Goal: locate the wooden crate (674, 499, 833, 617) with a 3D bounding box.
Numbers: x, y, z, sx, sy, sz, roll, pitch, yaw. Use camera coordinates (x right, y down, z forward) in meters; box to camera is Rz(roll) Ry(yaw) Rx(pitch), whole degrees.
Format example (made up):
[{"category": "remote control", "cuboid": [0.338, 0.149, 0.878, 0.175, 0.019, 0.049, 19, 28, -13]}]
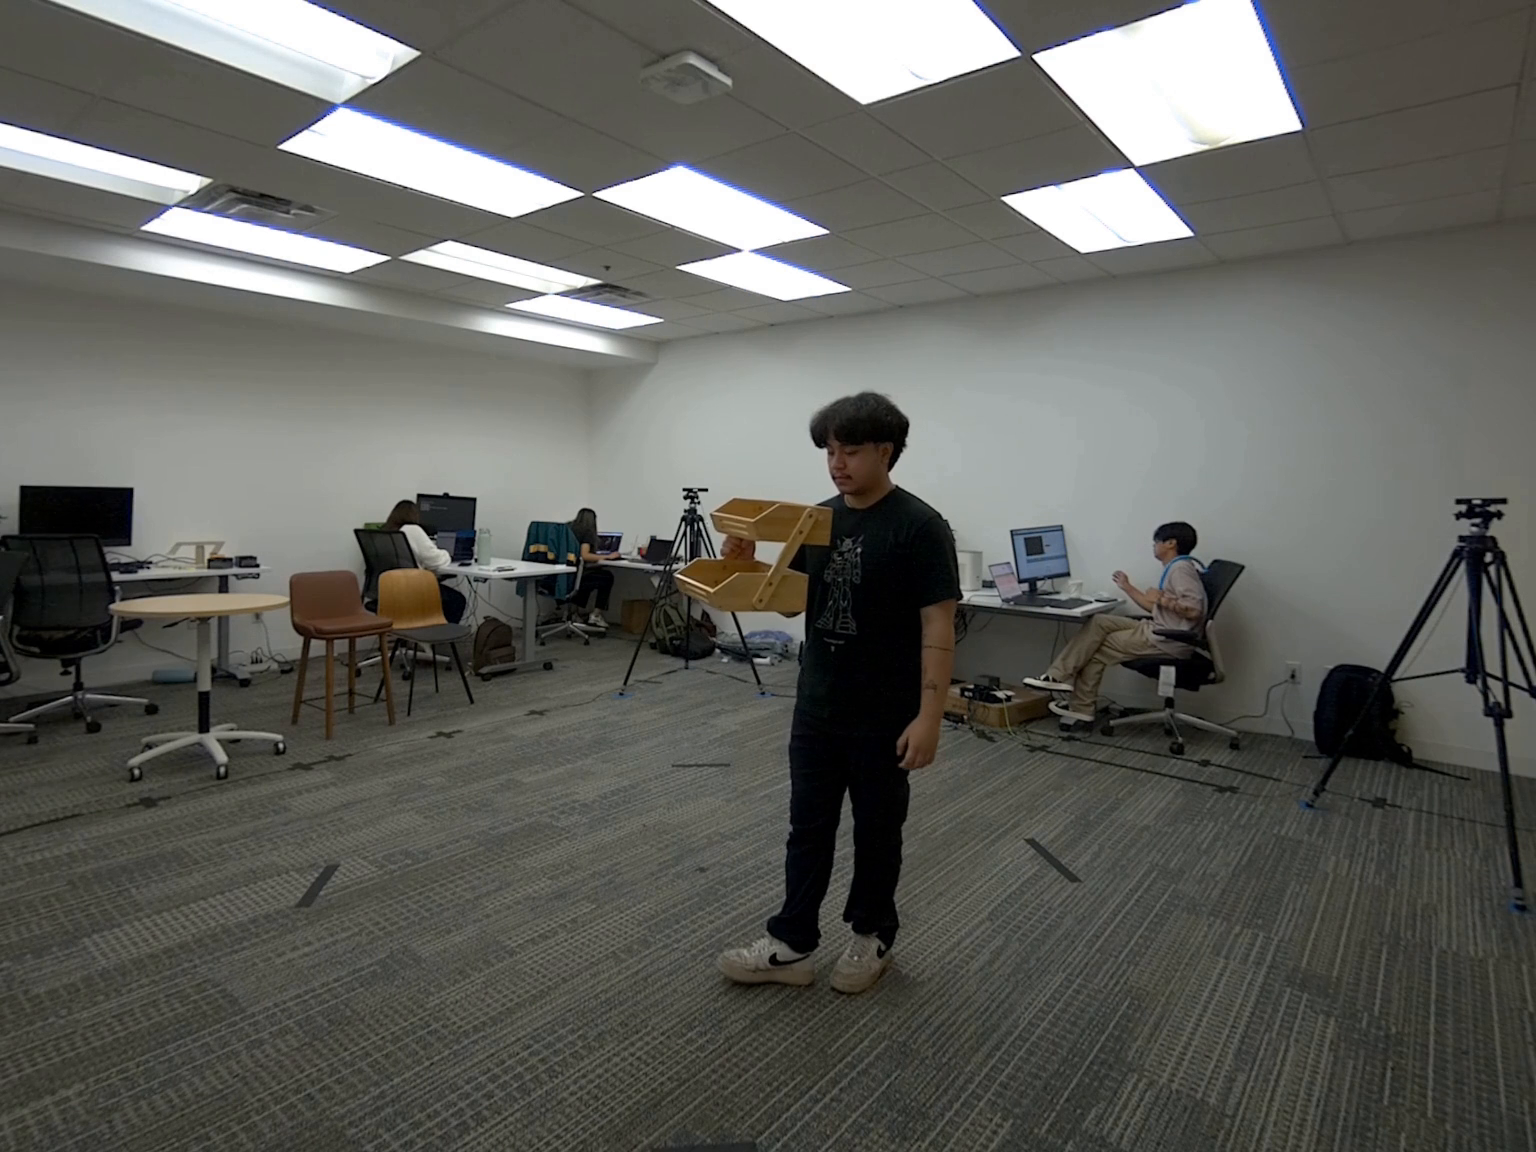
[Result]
[{"category": "wooden crate", "cuboid": [-0.056, -0.072, 2.197, 0.295, 0.272, 0.334, 4, 6, -24]}]
